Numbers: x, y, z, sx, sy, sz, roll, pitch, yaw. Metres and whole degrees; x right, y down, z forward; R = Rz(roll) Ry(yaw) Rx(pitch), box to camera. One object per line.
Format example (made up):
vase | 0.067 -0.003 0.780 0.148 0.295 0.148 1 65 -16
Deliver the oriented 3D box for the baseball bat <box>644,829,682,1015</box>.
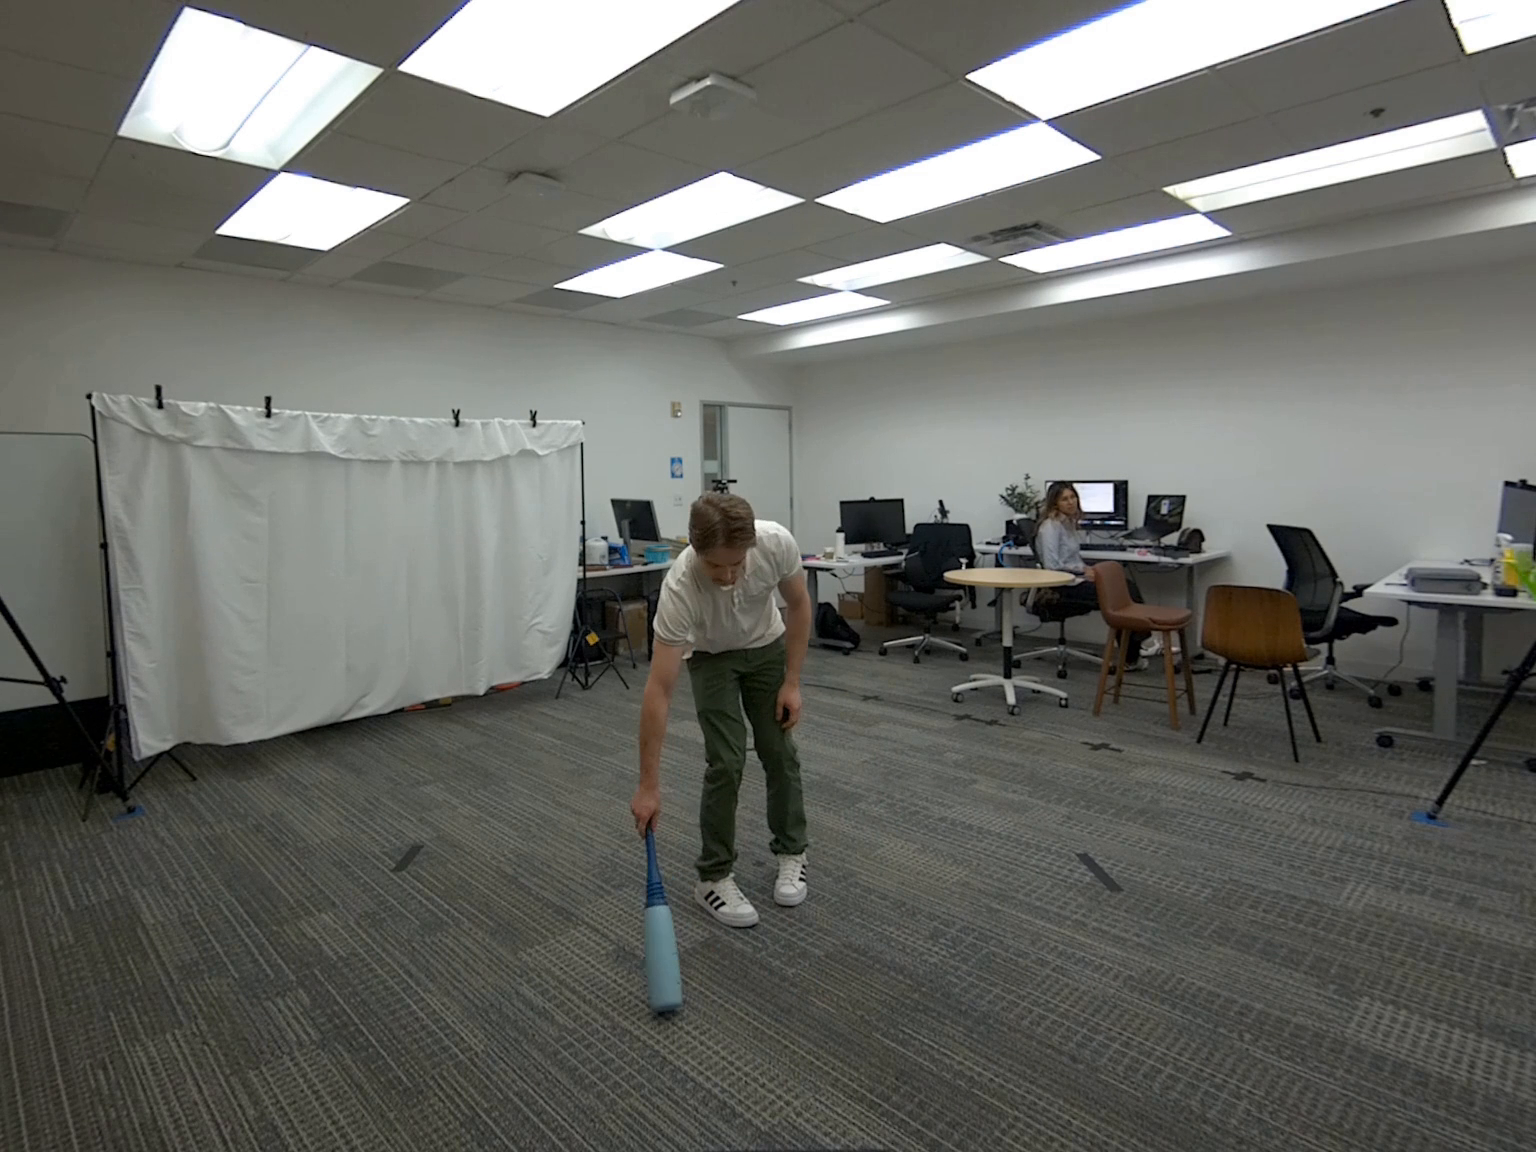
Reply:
baseball bat | -0.304 0.910 2.390 0.088 0.559 0.087 -8 -33 -7
